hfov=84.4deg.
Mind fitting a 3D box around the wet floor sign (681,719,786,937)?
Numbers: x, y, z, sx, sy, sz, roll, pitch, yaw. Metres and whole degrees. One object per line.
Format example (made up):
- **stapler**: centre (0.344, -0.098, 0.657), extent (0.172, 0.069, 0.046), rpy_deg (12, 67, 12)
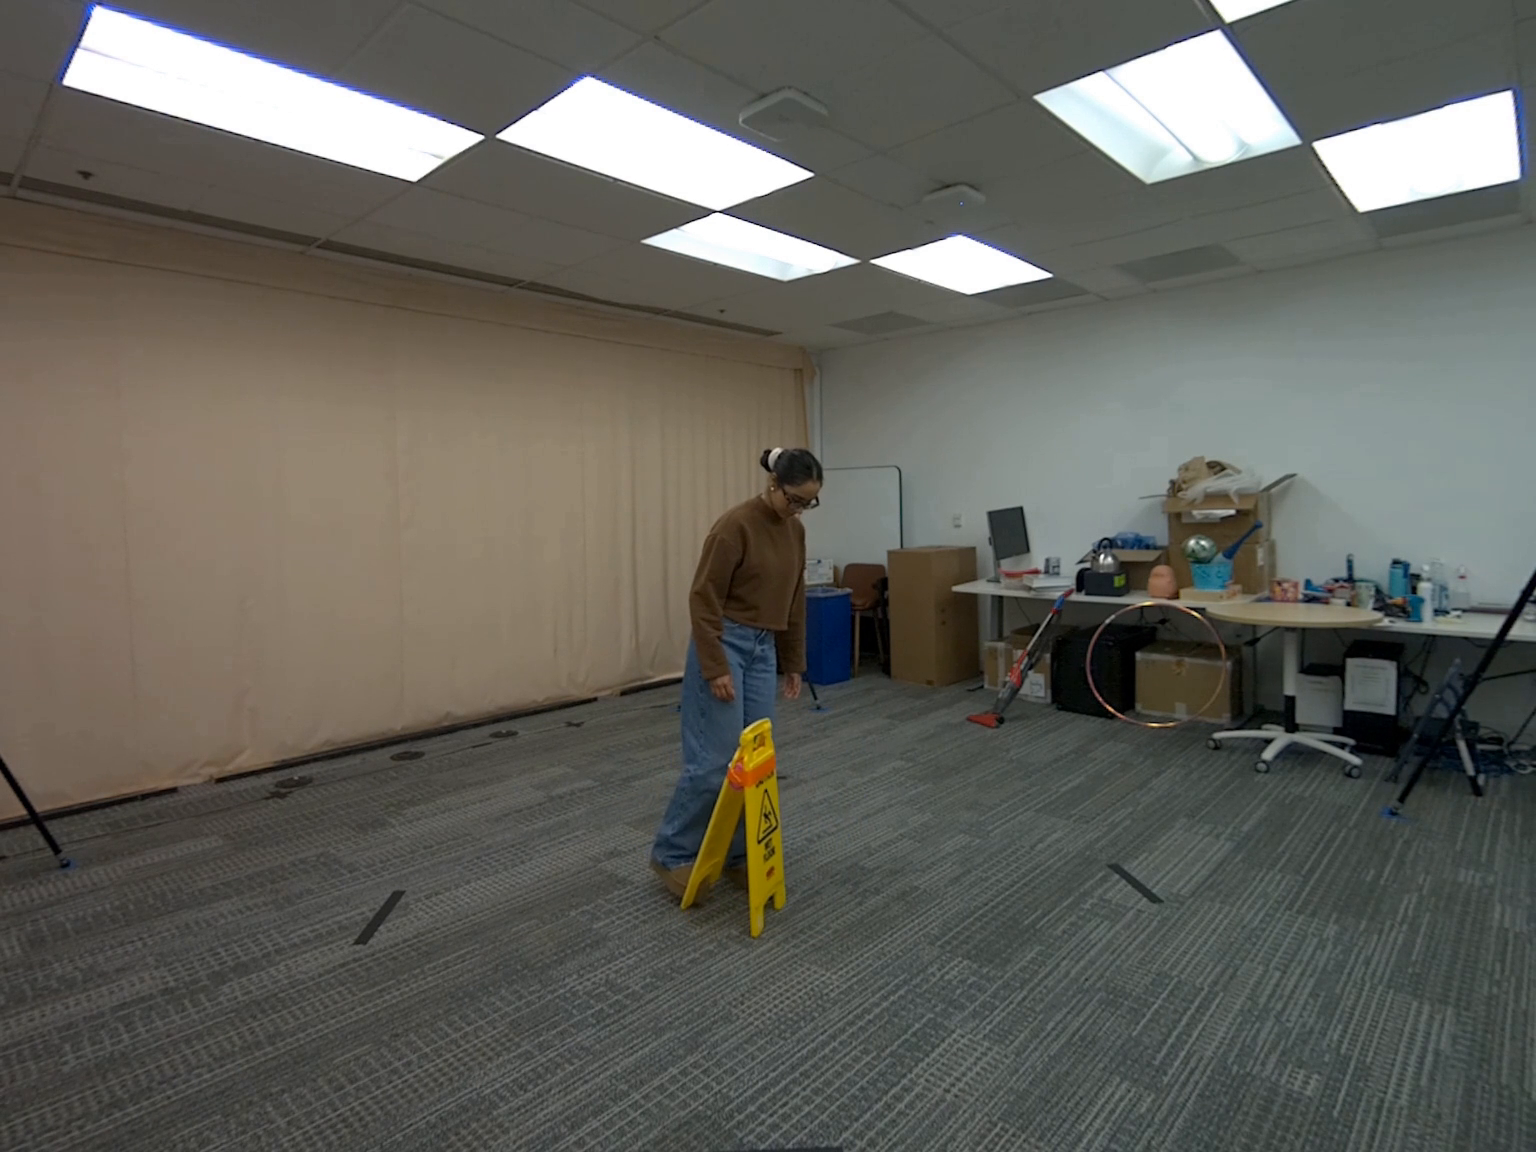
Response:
- **wet floor sign**: centre (-0.080, 0.812, 2.844), extent (0.297, 0.644, 0.276), rpy_deg (9, 7, 23)
